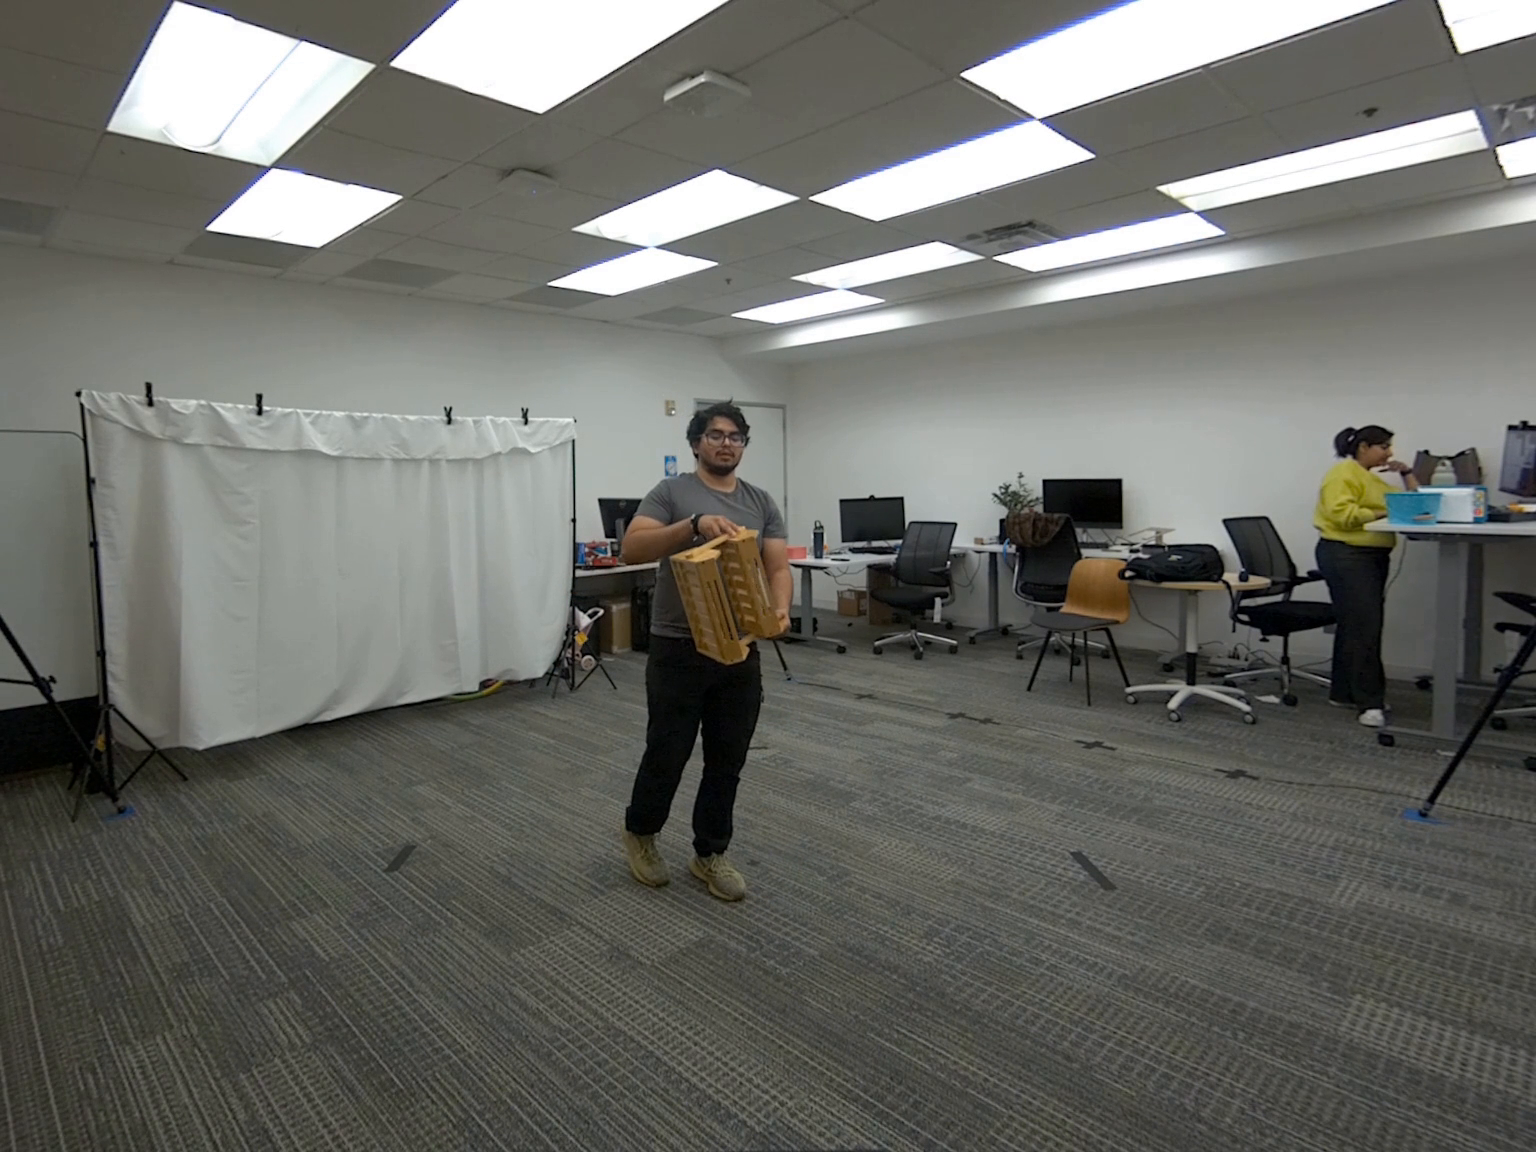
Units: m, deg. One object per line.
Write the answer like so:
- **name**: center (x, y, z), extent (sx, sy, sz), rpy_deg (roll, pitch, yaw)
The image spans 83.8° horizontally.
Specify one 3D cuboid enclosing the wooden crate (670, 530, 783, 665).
- **wooden crate**: center (-0.106, 0.054, 2.513), extent (0.270, 0.321, 0.309), rpy_deg (-20, 11, -22)
